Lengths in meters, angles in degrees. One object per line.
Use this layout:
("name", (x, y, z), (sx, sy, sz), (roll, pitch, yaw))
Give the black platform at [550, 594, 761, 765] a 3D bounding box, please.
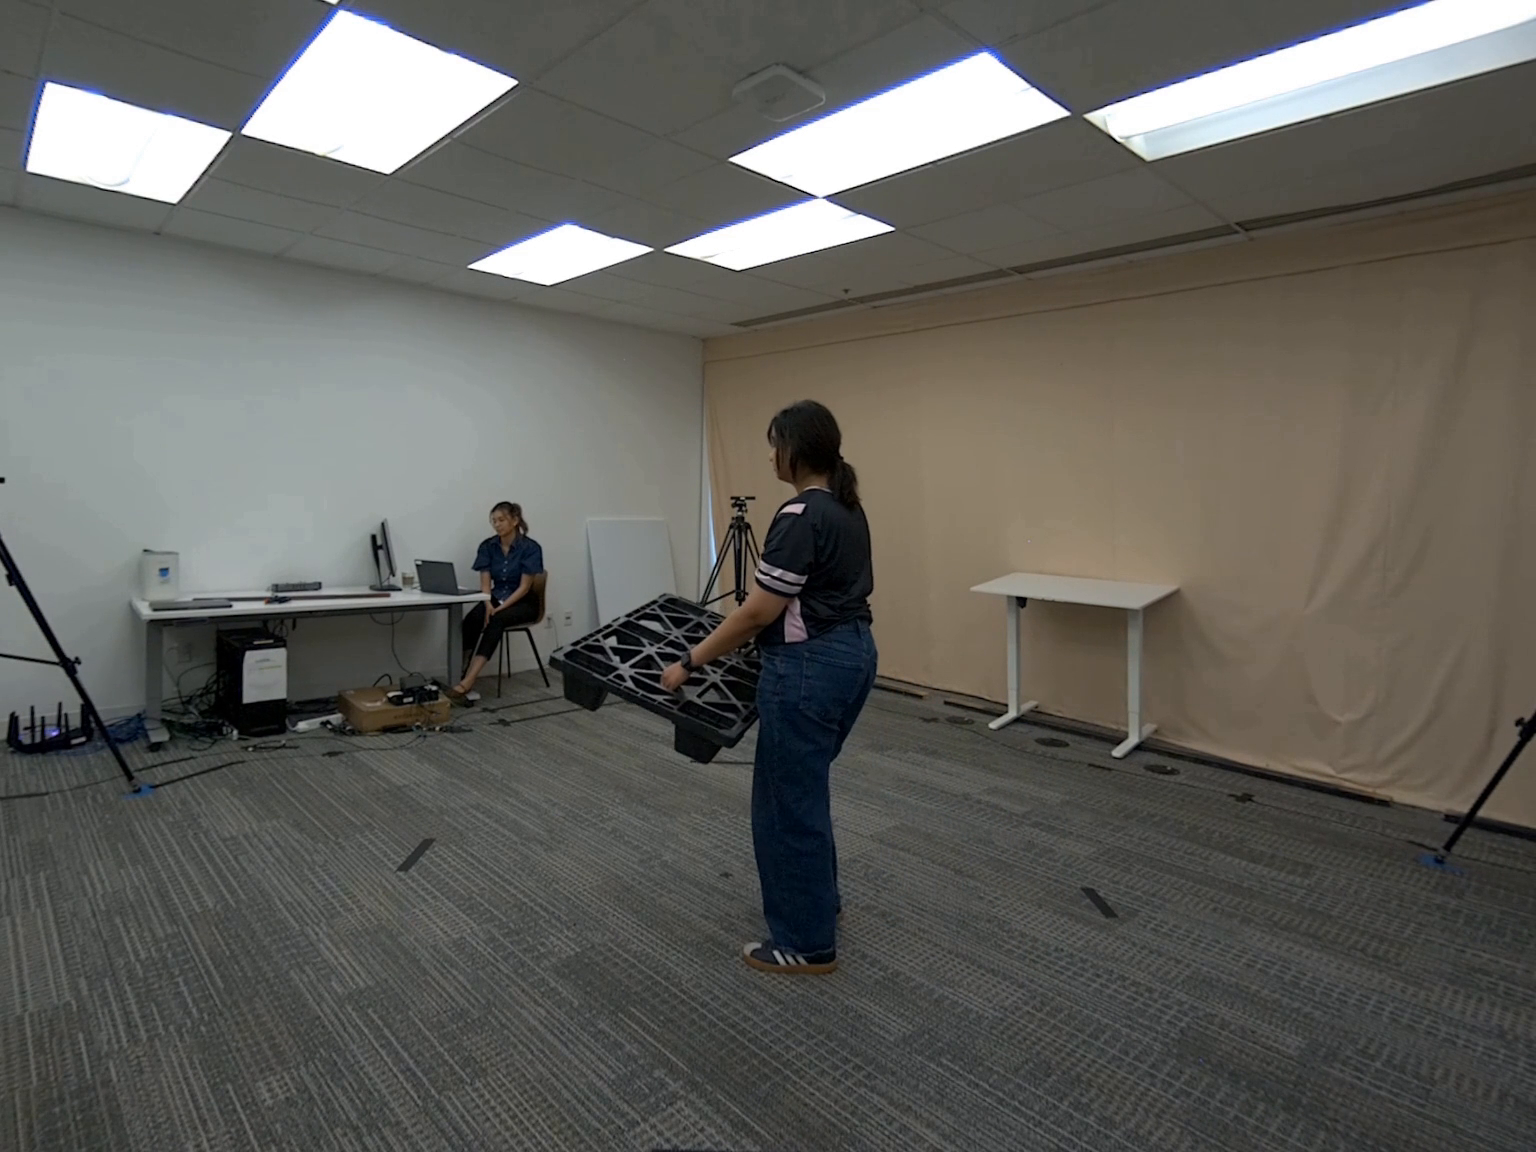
("black platform", (-0.260, 0.307, 2.706), (0.615, 0.142, 0.799), (20, 18, 16))
